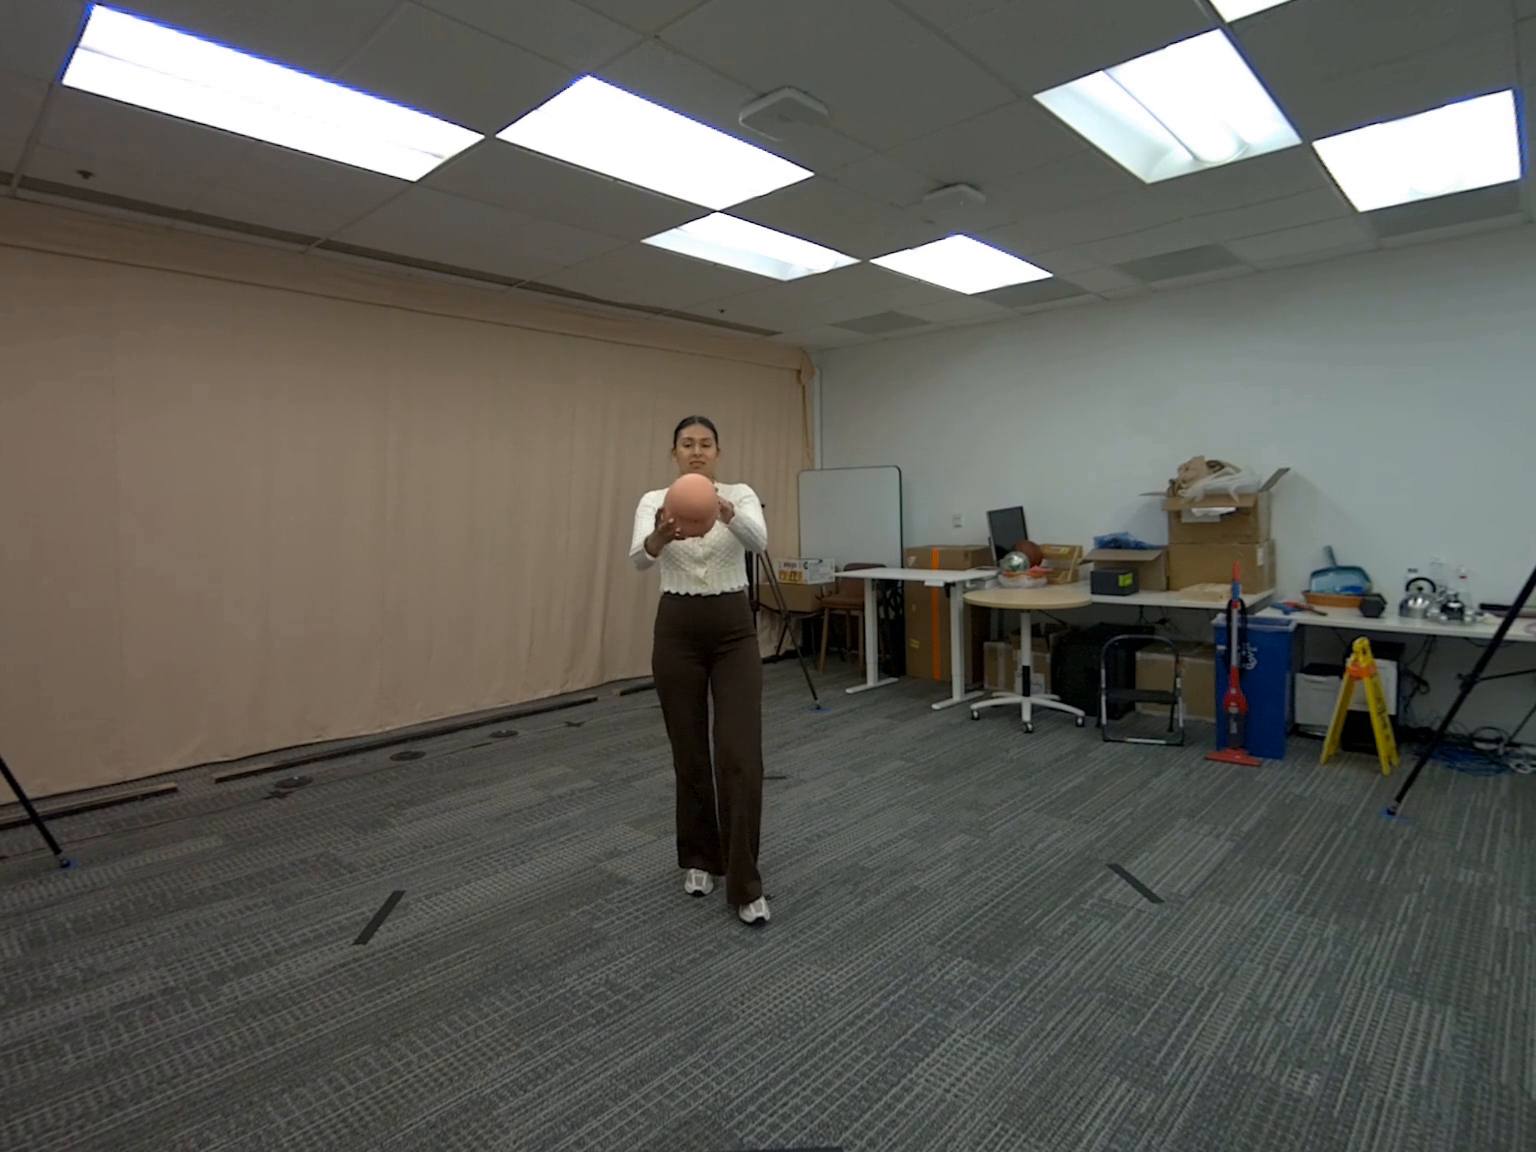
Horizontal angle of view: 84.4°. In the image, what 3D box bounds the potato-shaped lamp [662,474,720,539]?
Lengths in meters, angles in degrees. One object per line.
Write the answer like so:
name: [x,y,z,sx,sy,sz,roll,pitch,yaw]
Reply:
potato-shaped lamp: [-0.216,-0.208,2.438,0.163,0.173,0.198,-5,-11,-11]
